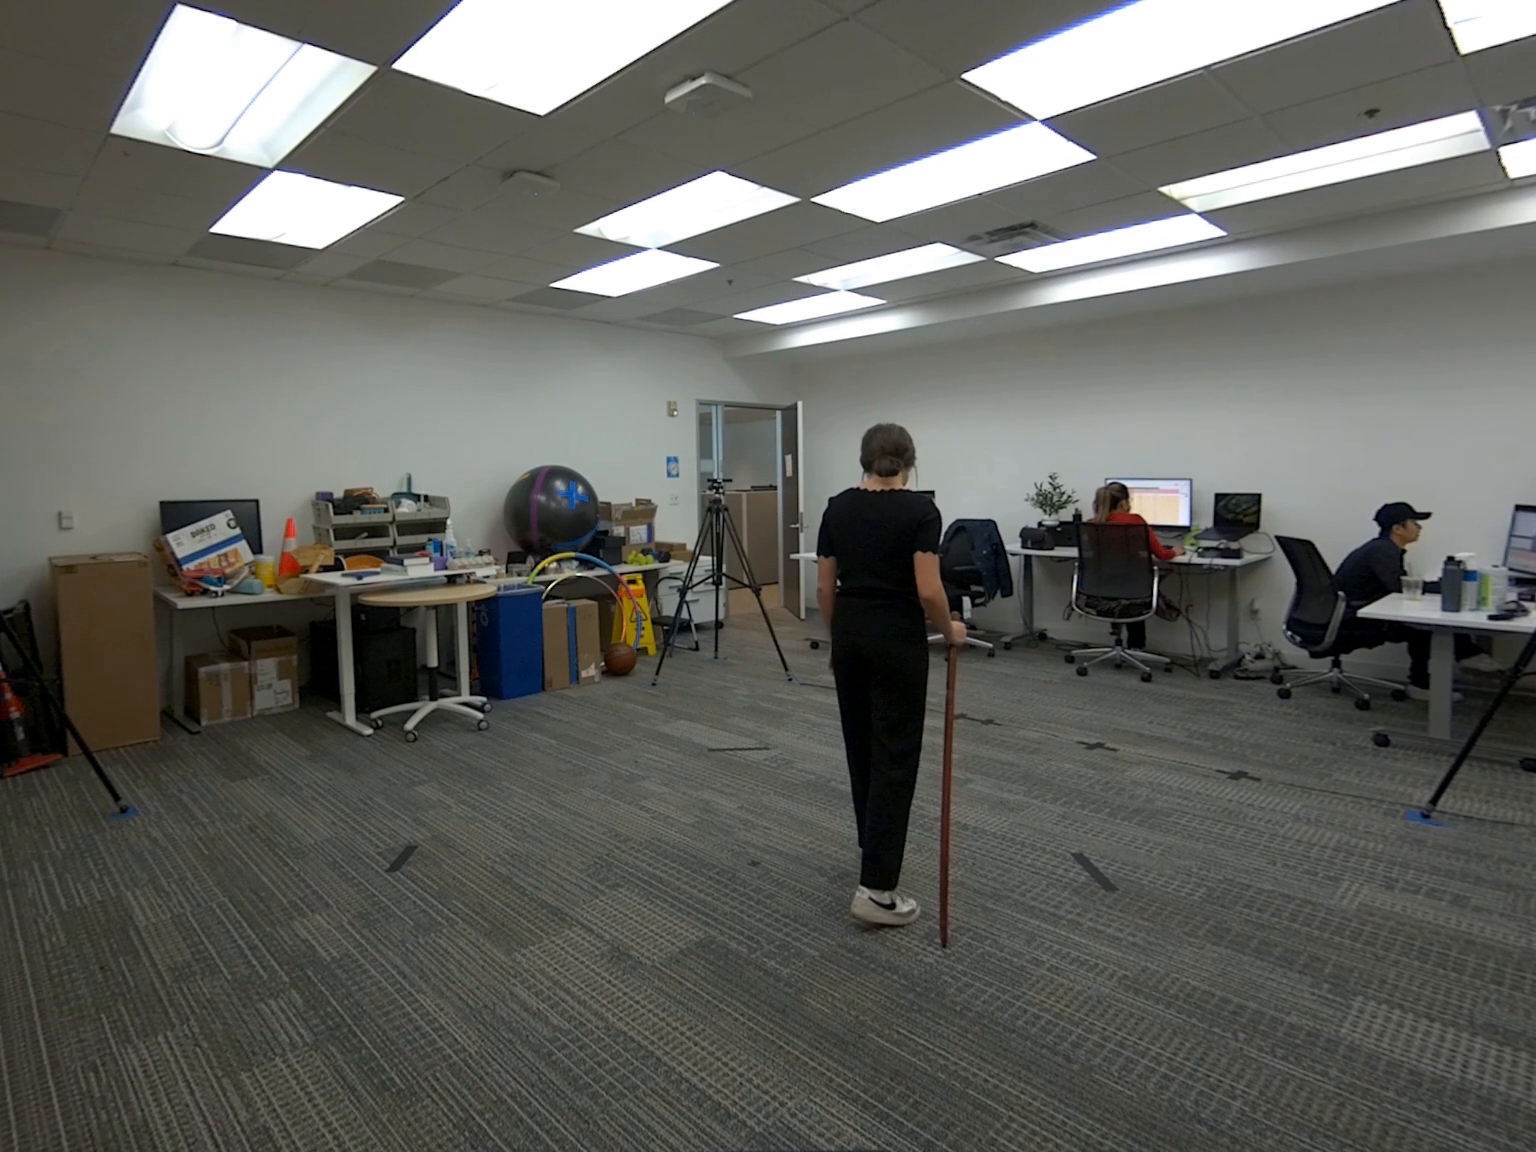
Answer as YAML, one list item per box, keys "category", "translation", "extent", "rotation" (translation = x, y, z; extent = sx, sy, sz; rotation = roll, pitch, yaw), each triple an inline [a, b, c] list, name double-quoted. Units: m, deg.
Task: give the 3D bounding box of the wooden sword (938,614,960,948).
- category: "wooden sword"
  translation: [0.567, 0.614, 2.704]
  extent: [0.051, 1.040, 0.024]
  rotation: [11, -20, -9]
